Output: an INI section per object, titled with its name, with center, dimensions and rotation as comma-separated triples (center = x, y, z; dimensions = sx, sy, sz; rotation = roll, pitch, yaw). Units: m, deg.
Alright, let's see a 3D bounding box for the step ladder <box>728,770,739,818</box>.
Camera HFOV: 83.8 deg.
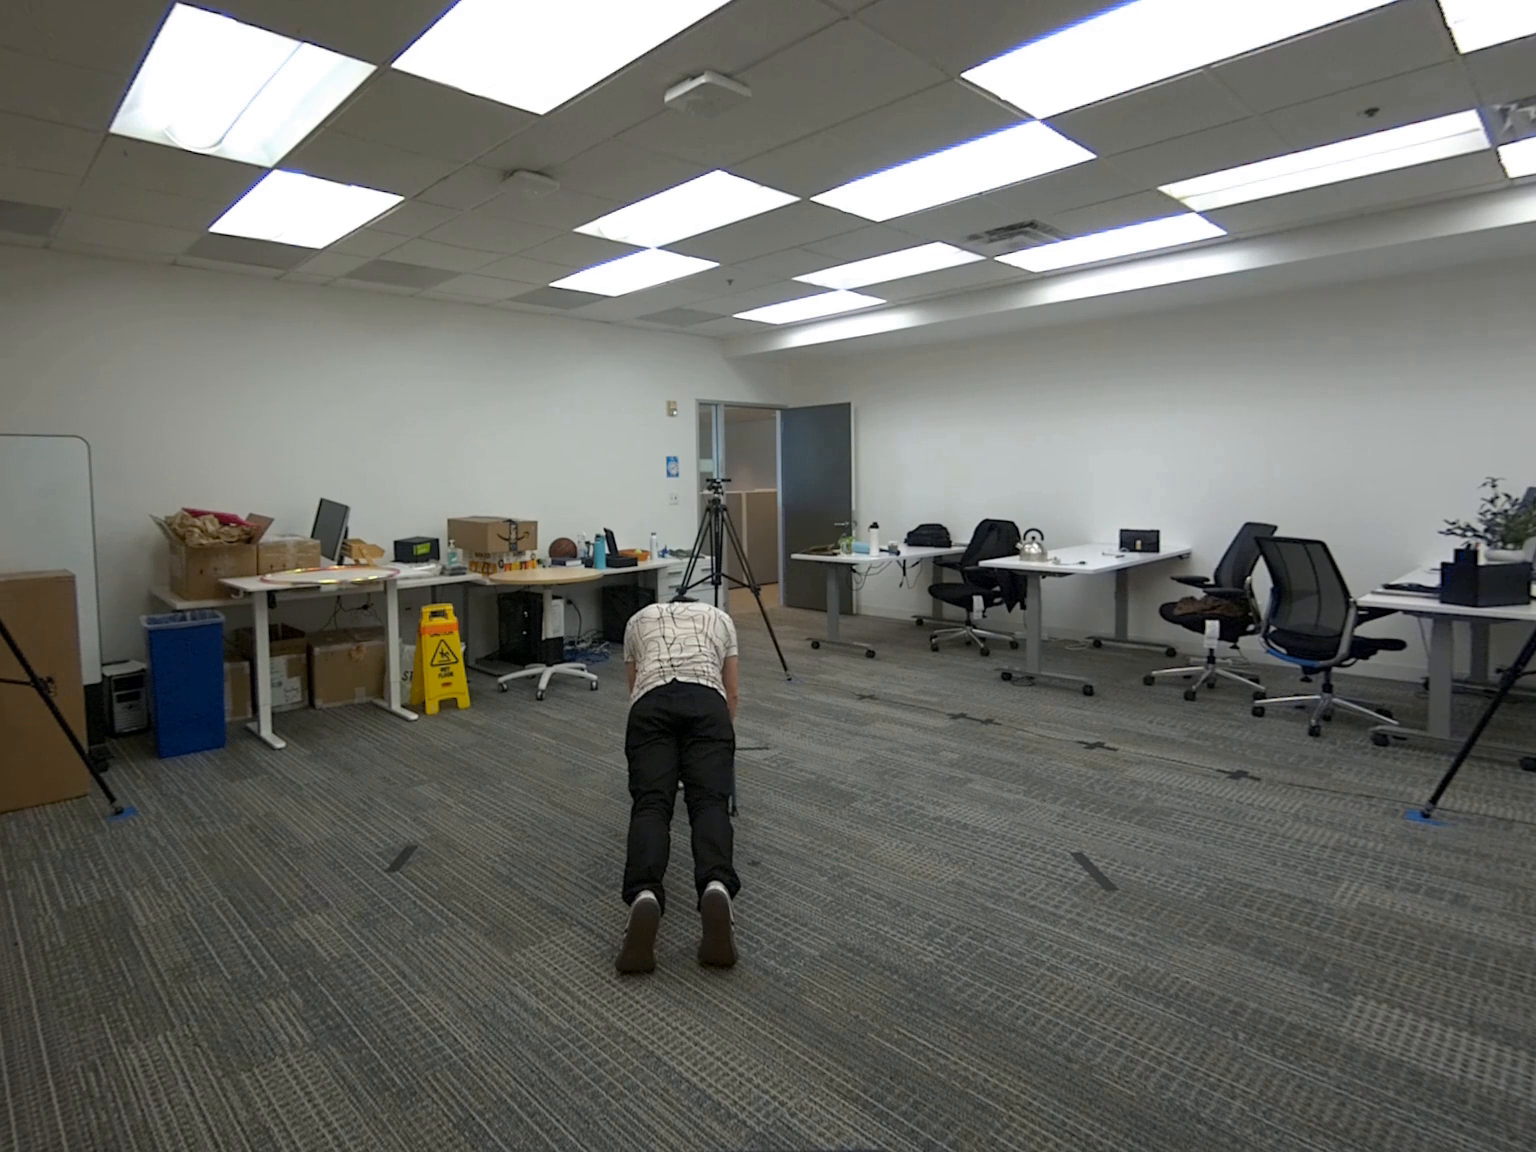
[step ladder]
center = -0.352, 0.685, 3.699
dimensions = 0.430, 0.603, 0.351
rotation = -1, 5, -2
